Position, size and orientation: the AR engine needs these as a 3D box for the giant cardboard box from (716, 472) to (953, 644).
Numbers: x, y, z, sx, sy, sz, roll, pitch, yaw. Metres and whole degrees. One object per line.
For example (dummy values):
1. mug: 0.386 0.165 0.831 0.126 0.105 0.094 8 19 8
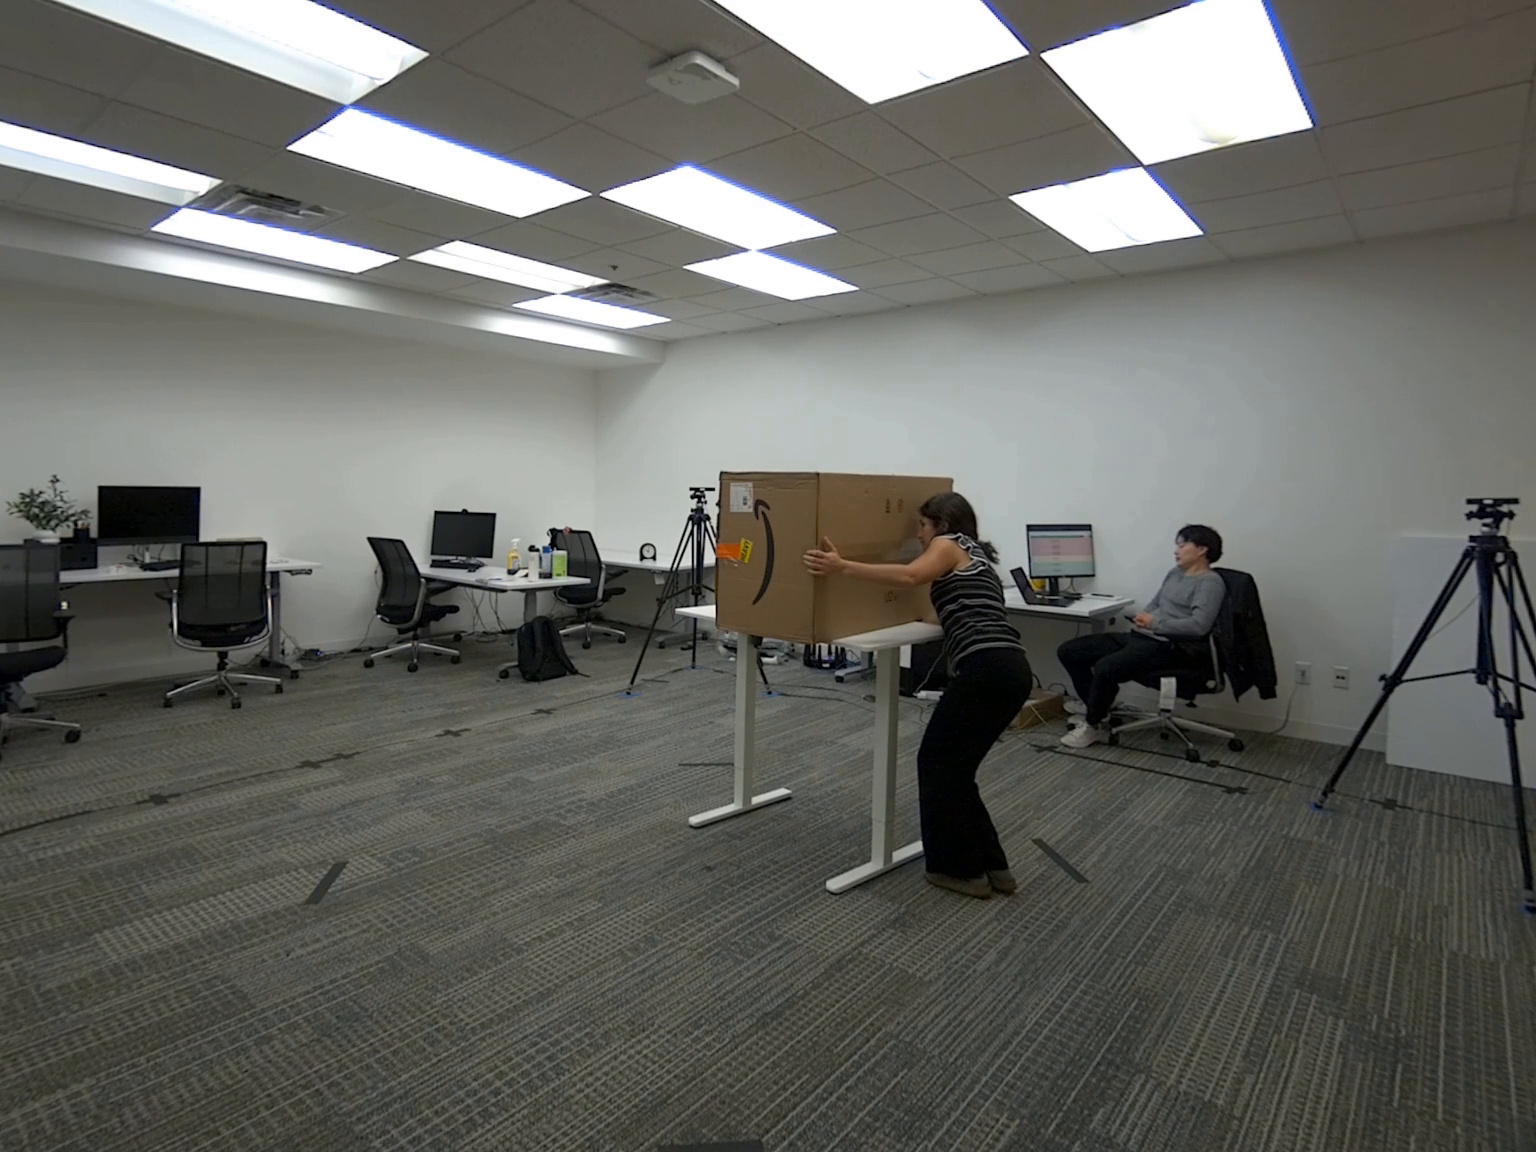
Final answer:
1. giant cardboard box: 0.277 -0.114 3.309 0.440 0.575 0.996 4 6 38
